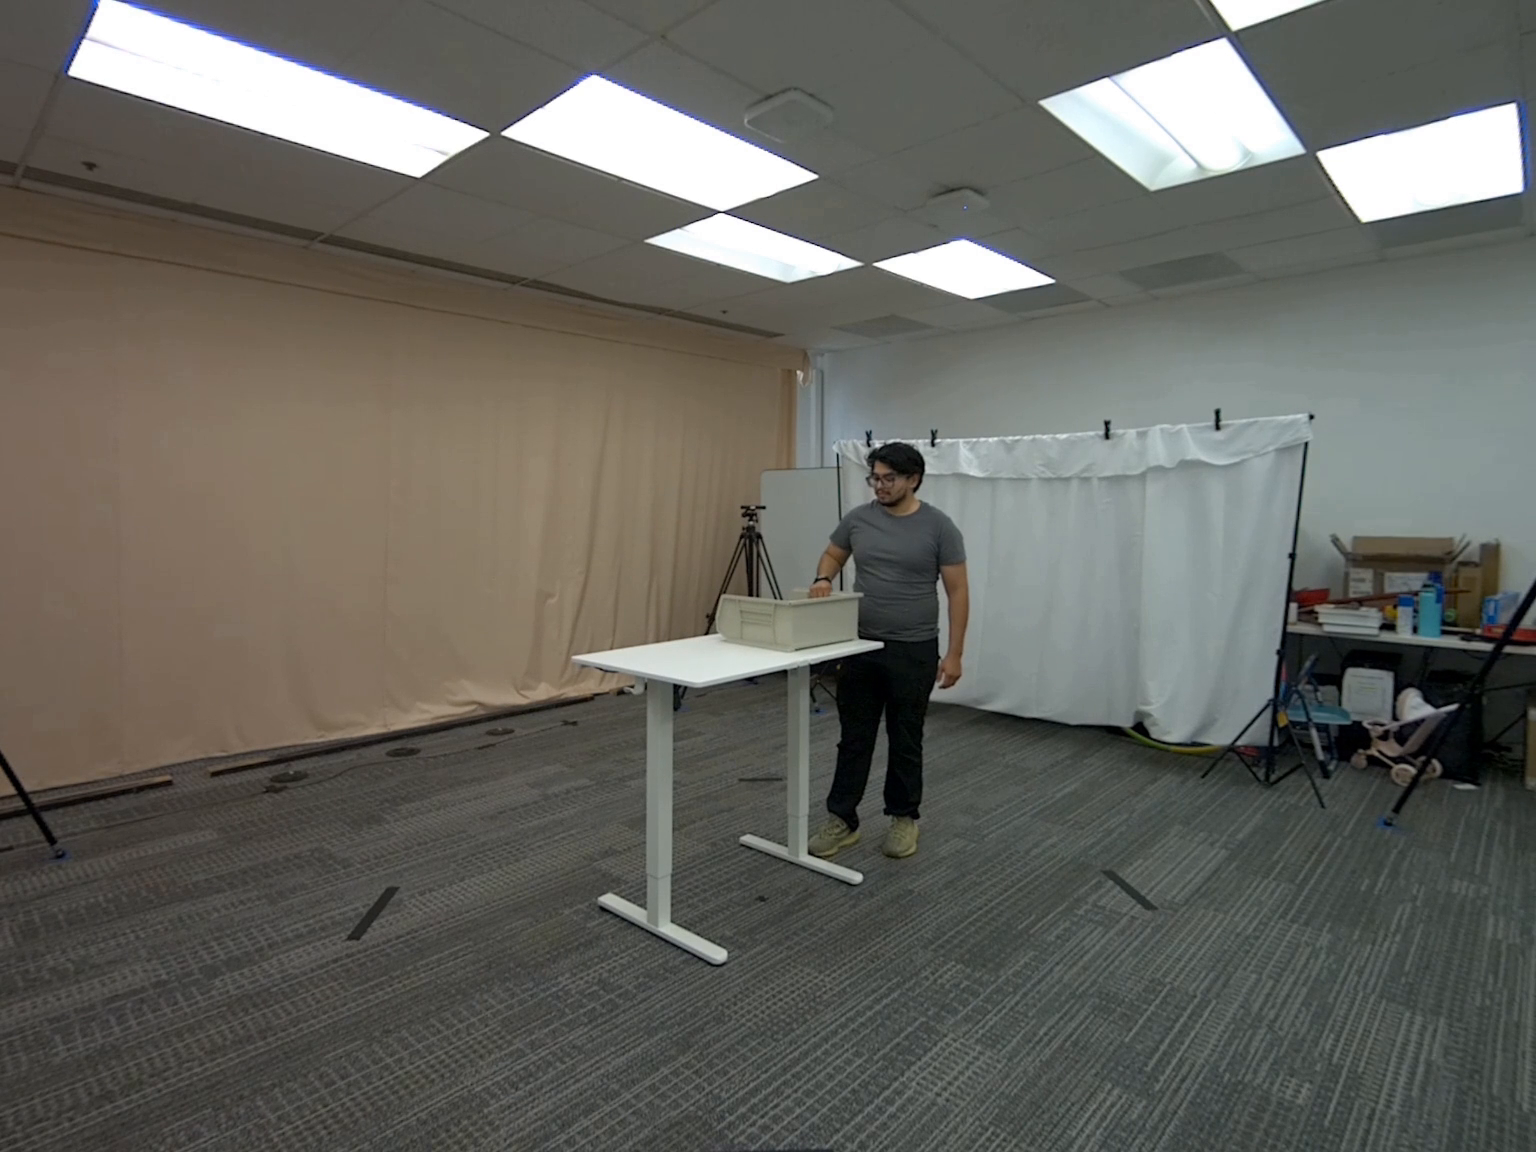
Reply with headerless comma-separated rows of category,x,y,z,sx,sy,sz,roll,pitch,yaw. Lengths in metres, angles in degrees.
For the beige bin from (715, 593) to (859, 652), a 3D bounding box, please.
beige bin,0.083,0.157,3.181,0.390,0.188,0.409,6,7,44
